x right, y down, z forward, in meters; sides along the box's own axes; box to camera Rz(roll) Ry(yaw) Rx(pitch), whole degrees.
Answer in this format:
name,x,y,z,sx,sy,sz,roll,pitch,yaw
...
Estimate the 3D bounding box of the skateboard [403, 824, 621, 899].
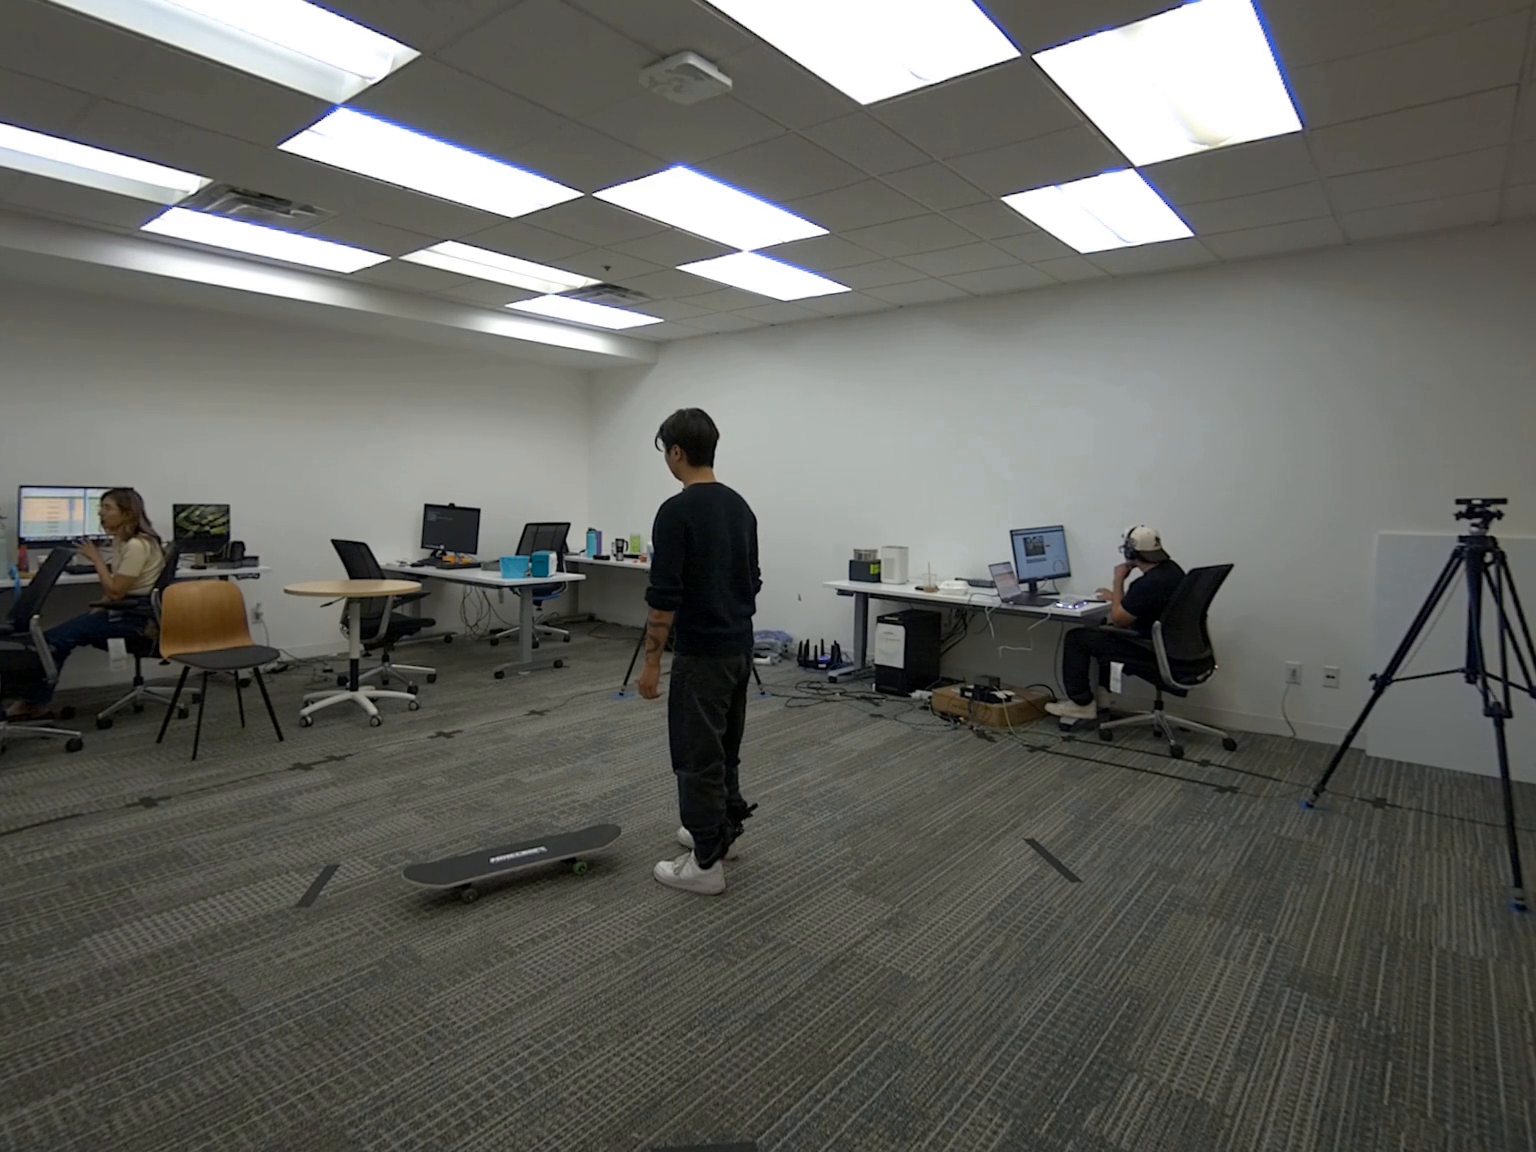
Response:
name,x,y,z,sx,sy,sz,roll,pitch,yaw
skateboard,-0.890,1.017,3.008,0.764,0.110,0.199,-3,6,-33
